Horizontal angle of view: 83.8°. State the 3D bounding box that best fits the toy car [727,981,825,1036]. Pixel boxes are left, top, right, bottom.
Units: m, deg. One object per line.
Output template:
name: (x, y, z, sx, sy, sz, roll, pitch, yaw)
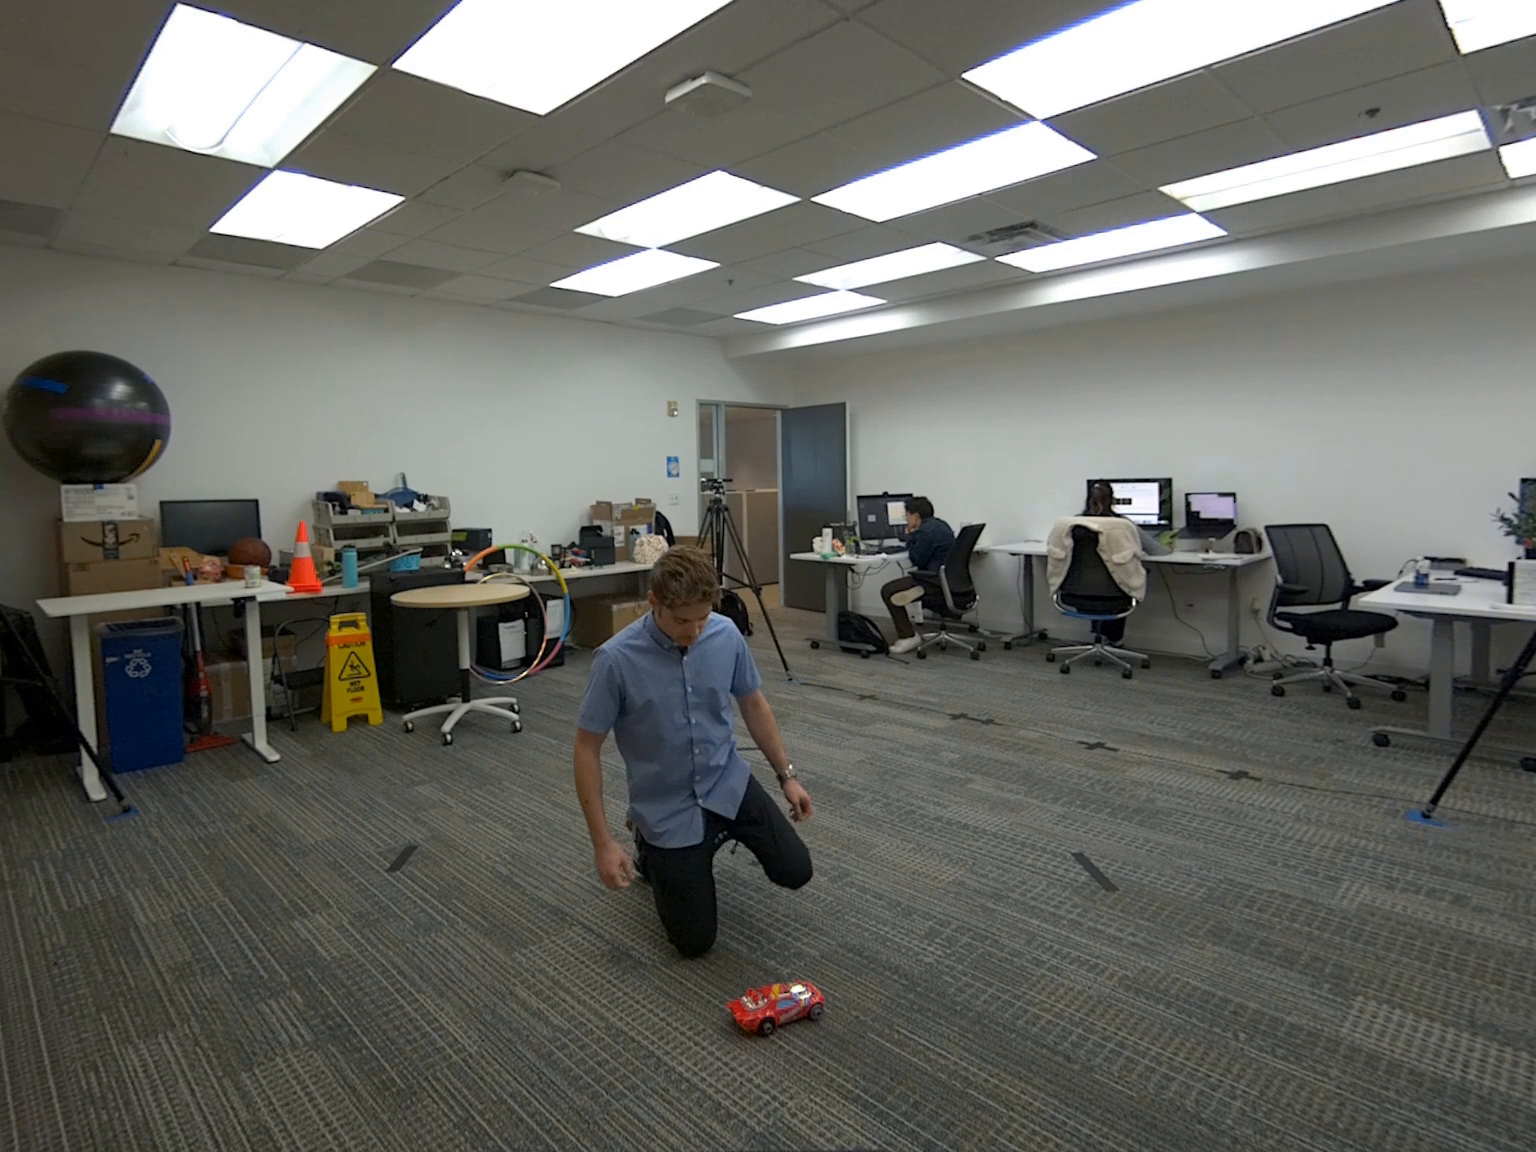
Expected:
toy car: (0.019, 1.120, 2.215, 0.248, 0.083, 0.133, 7, 2, -25)
